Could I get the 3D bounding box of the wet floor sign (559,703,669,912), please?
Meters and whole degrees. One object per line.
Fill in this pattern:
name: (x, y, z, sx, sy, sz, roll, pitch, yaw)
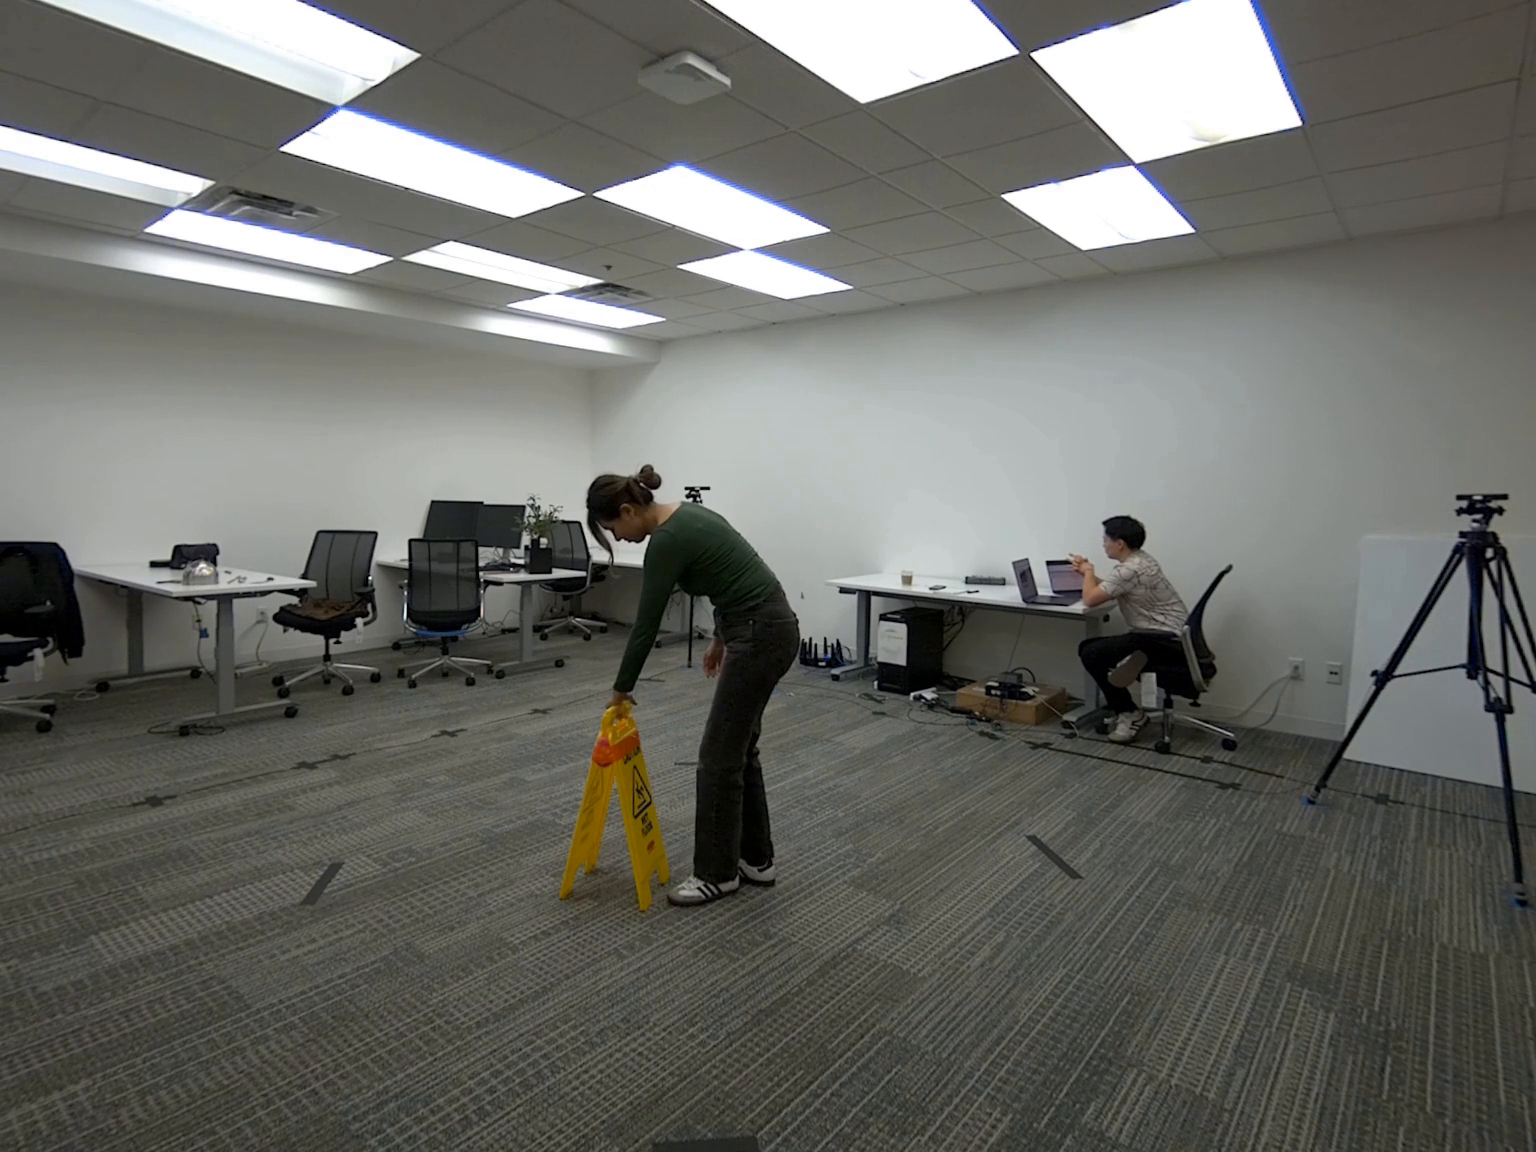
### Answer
wet floor sign: (-0.527, 0.754, 2.930, 0.294, 0.644, 0.279, 2, 4, 14)
